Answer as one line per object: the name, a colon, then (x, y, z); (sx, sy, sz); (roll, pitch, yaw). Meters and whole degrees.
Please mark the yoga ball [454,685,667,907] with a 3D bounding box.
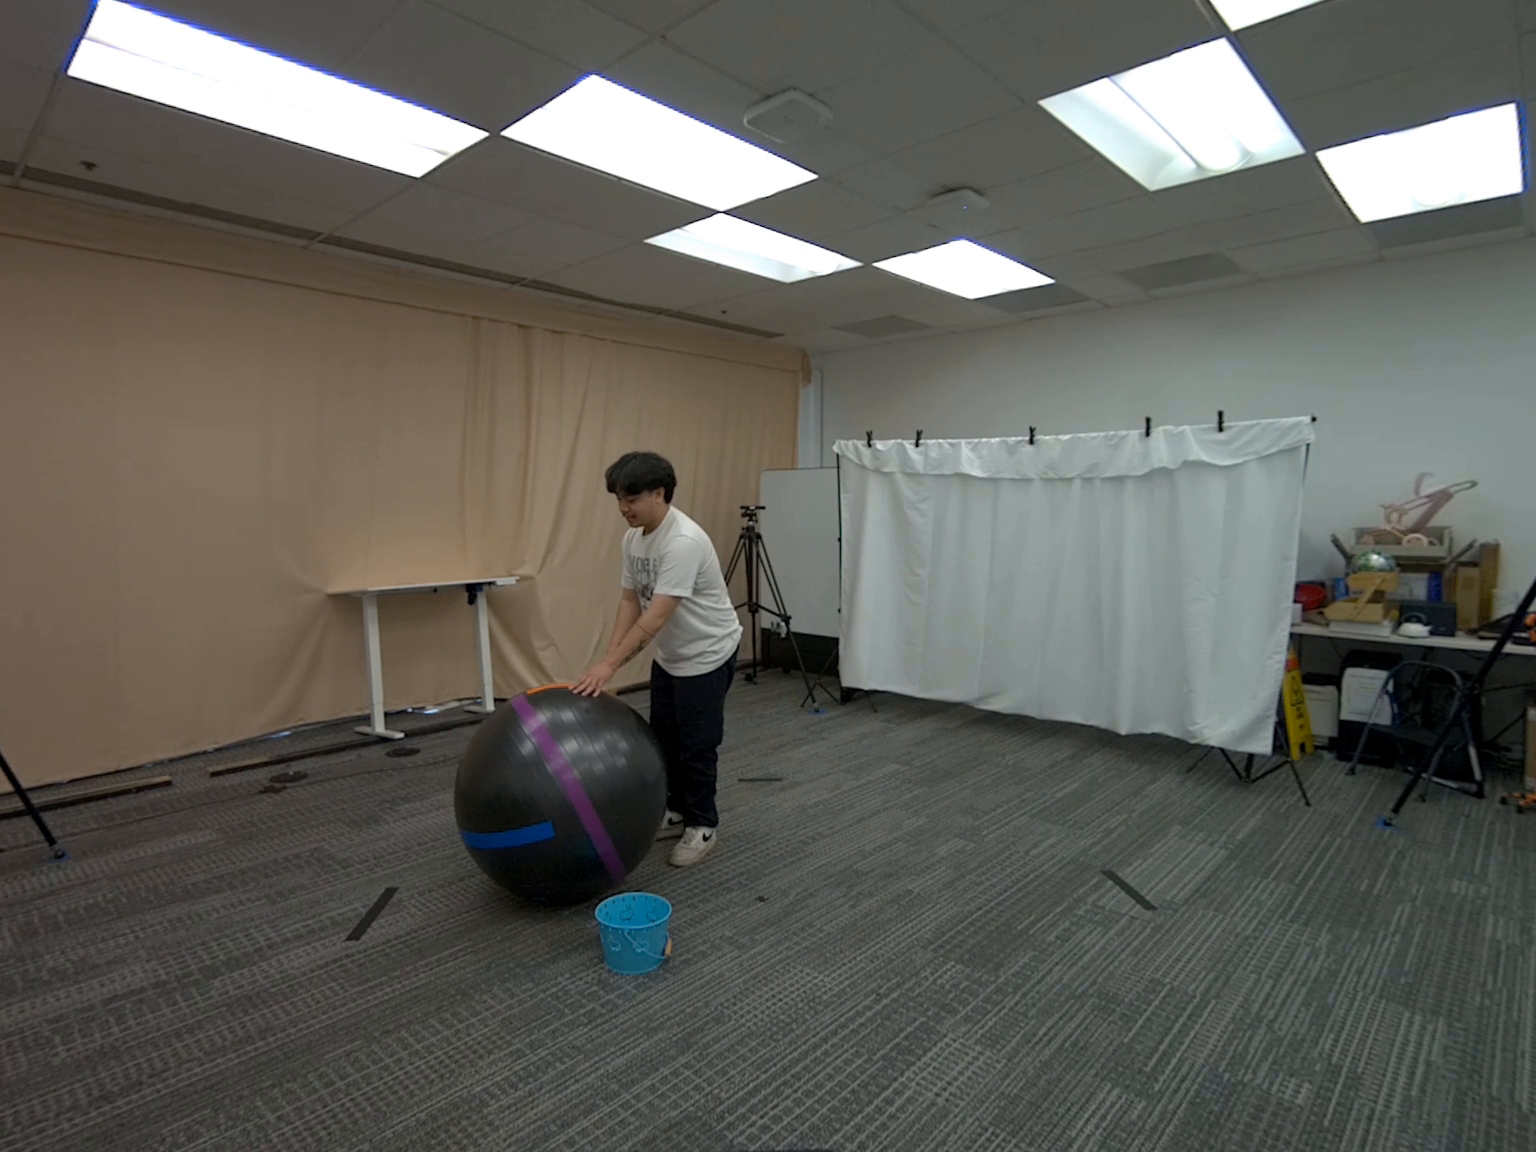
yoga ball: (-0.756, 0.780, 3.055); (0.757, 0.756, 0.760); (0, 4, -2)
